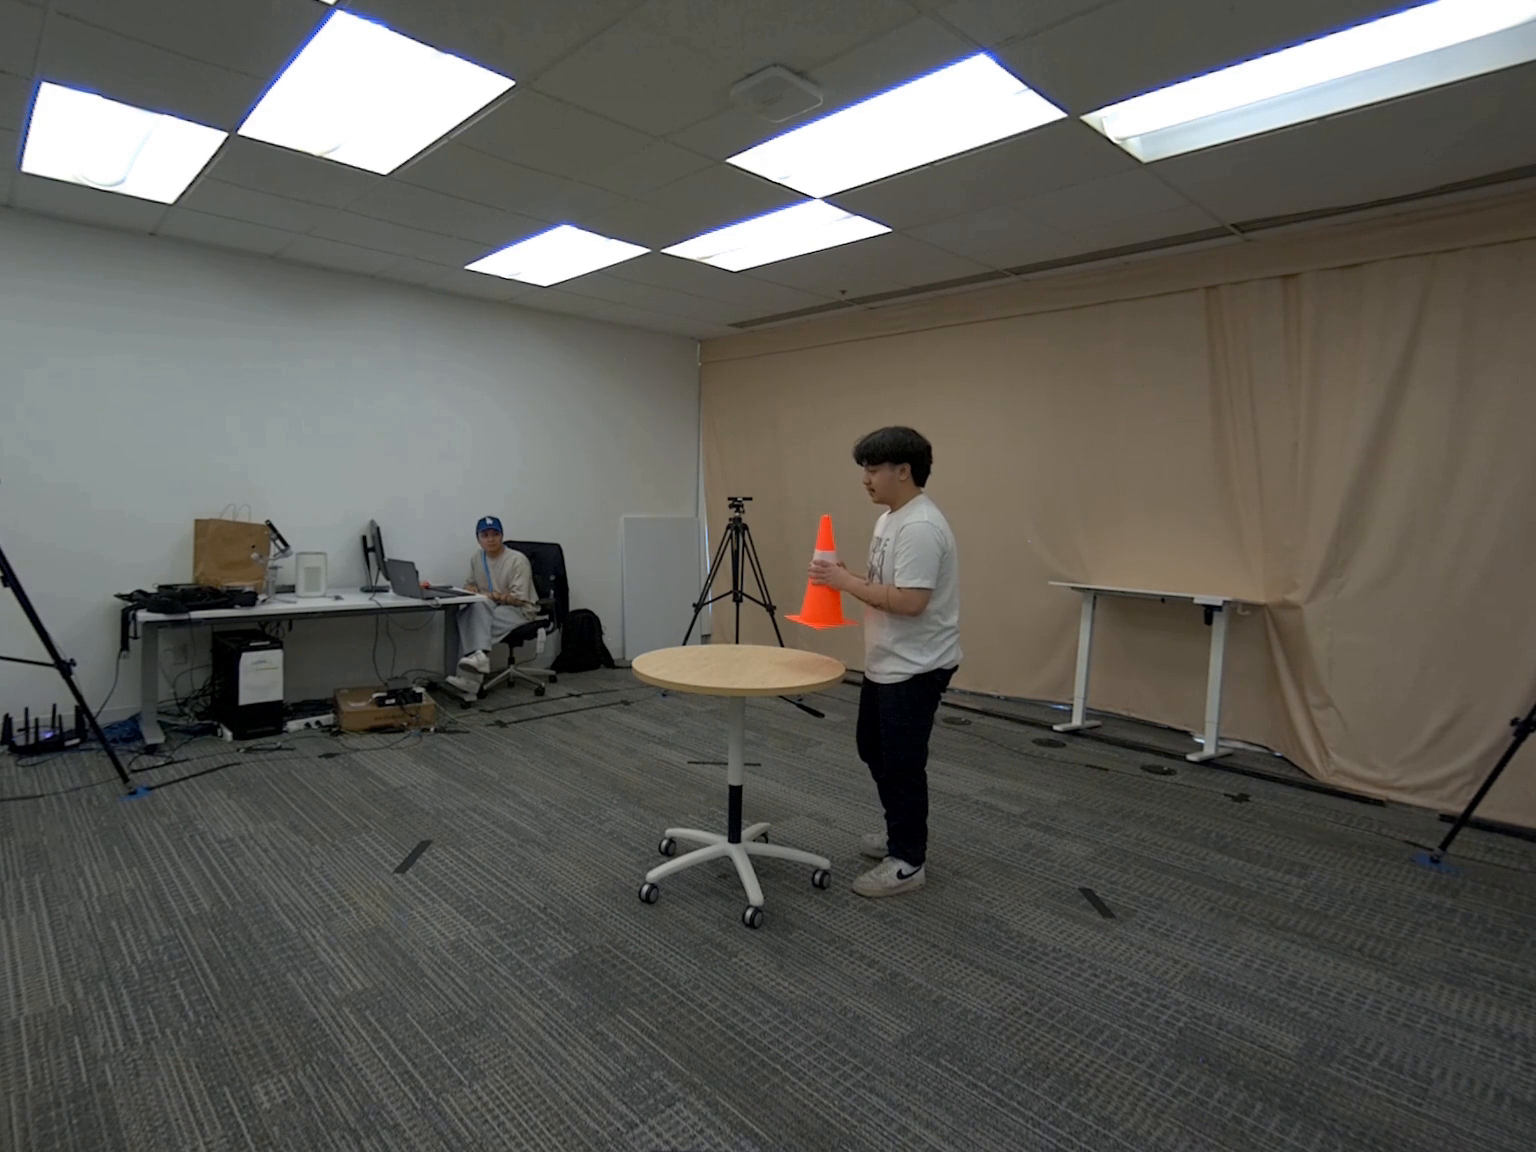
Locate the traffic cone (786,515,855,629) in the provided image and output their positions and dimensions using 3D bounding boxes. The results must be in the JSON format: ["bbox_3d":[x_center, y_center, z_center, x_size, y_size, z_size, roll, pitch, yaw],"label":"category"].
[{"bbox_3d":[0.205,-0.023,3.034,0.208,0.381,0.201,8,9,36],"label":"traffic cone"}]
